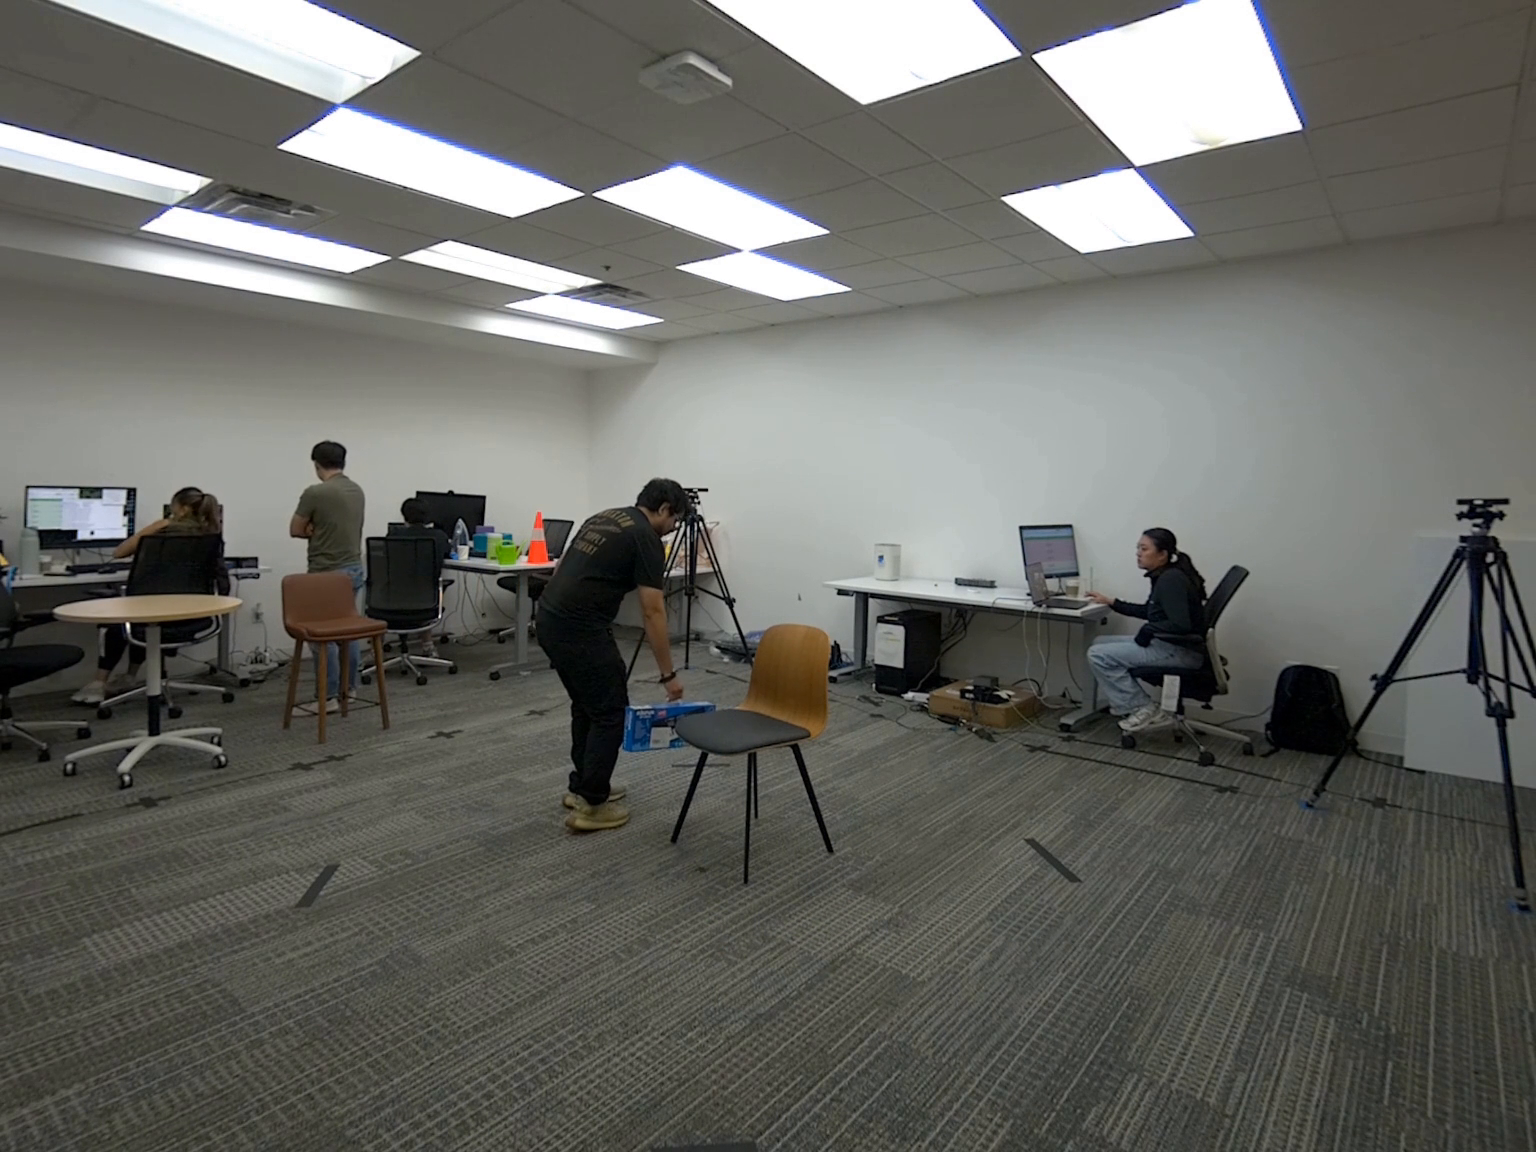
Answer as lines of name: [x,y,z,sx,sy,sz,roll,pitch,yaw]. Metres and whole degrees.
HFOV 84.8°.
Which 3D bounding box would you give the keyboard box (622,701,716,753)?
keyboard box: [-0.416,0.625,3.524,0.422,0.176,0.061,4,-1,-43]
